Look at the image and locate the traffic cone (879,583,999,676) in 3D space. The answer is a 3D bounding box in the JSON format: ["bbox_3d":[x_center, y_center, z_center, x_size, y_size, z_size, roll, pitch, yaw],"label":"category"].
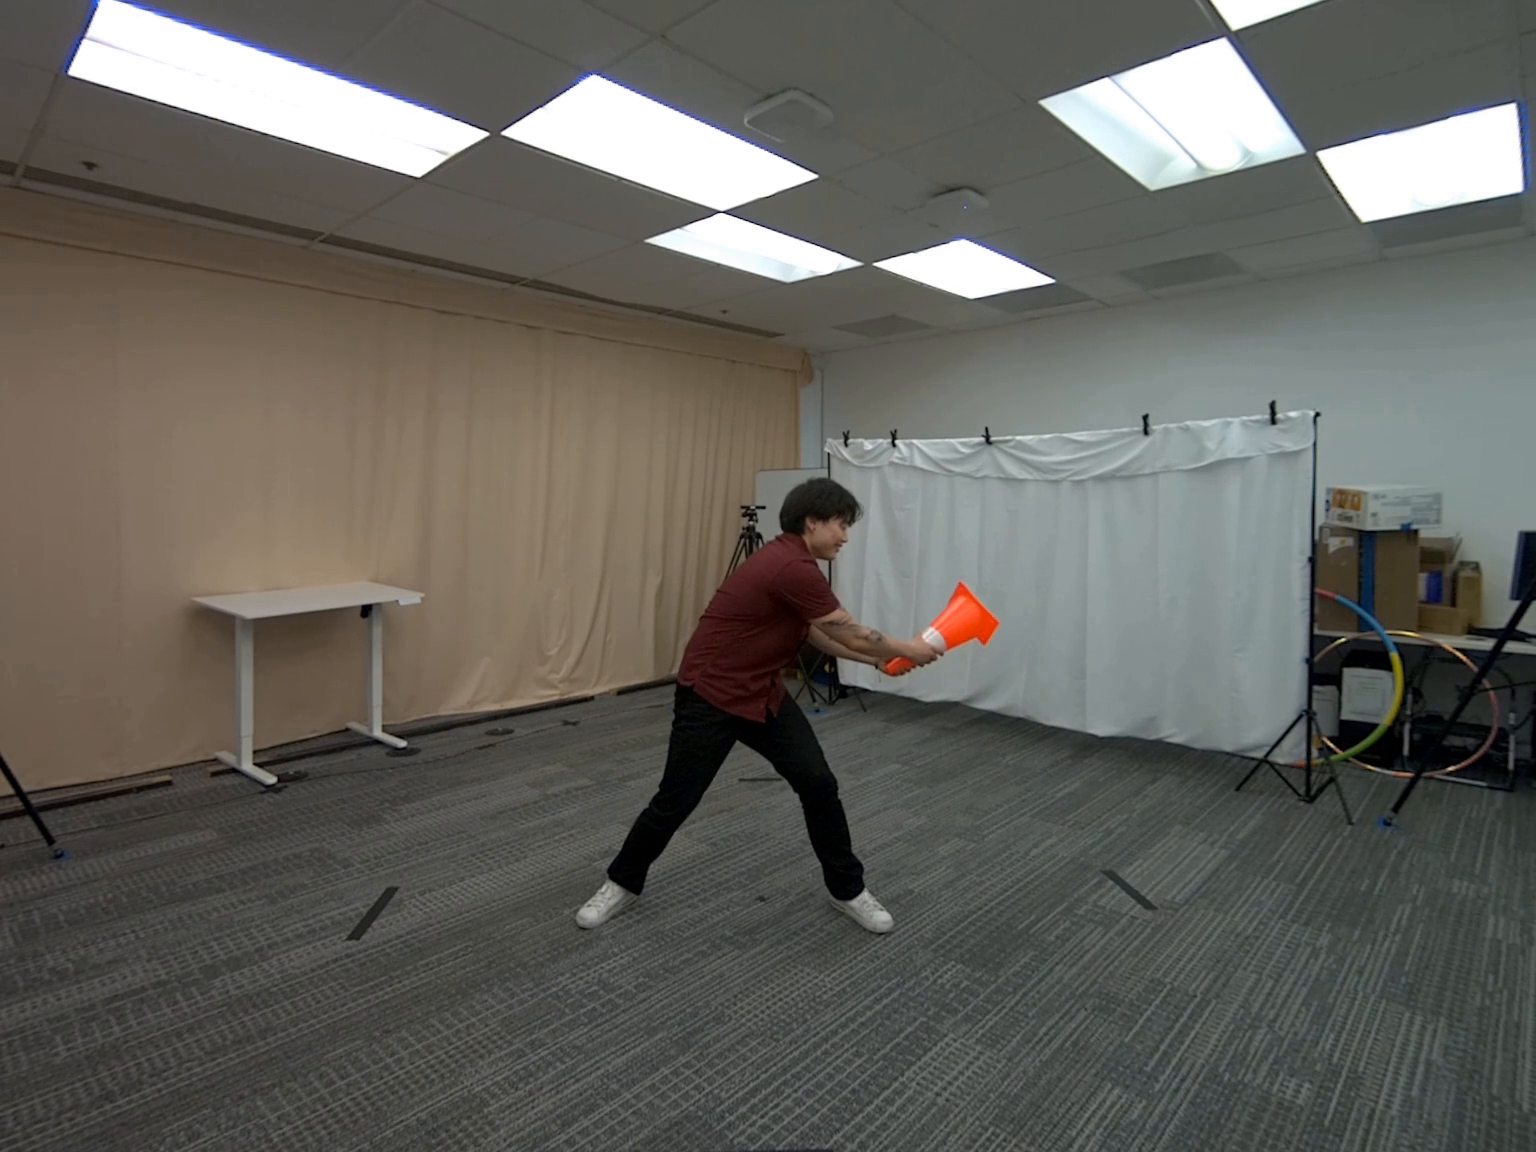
[{"bbox_3d":[0.568,0.232,2.907,0.381,0.210,0.199,-28,-27,-9],"label":"traffic cone"}]
